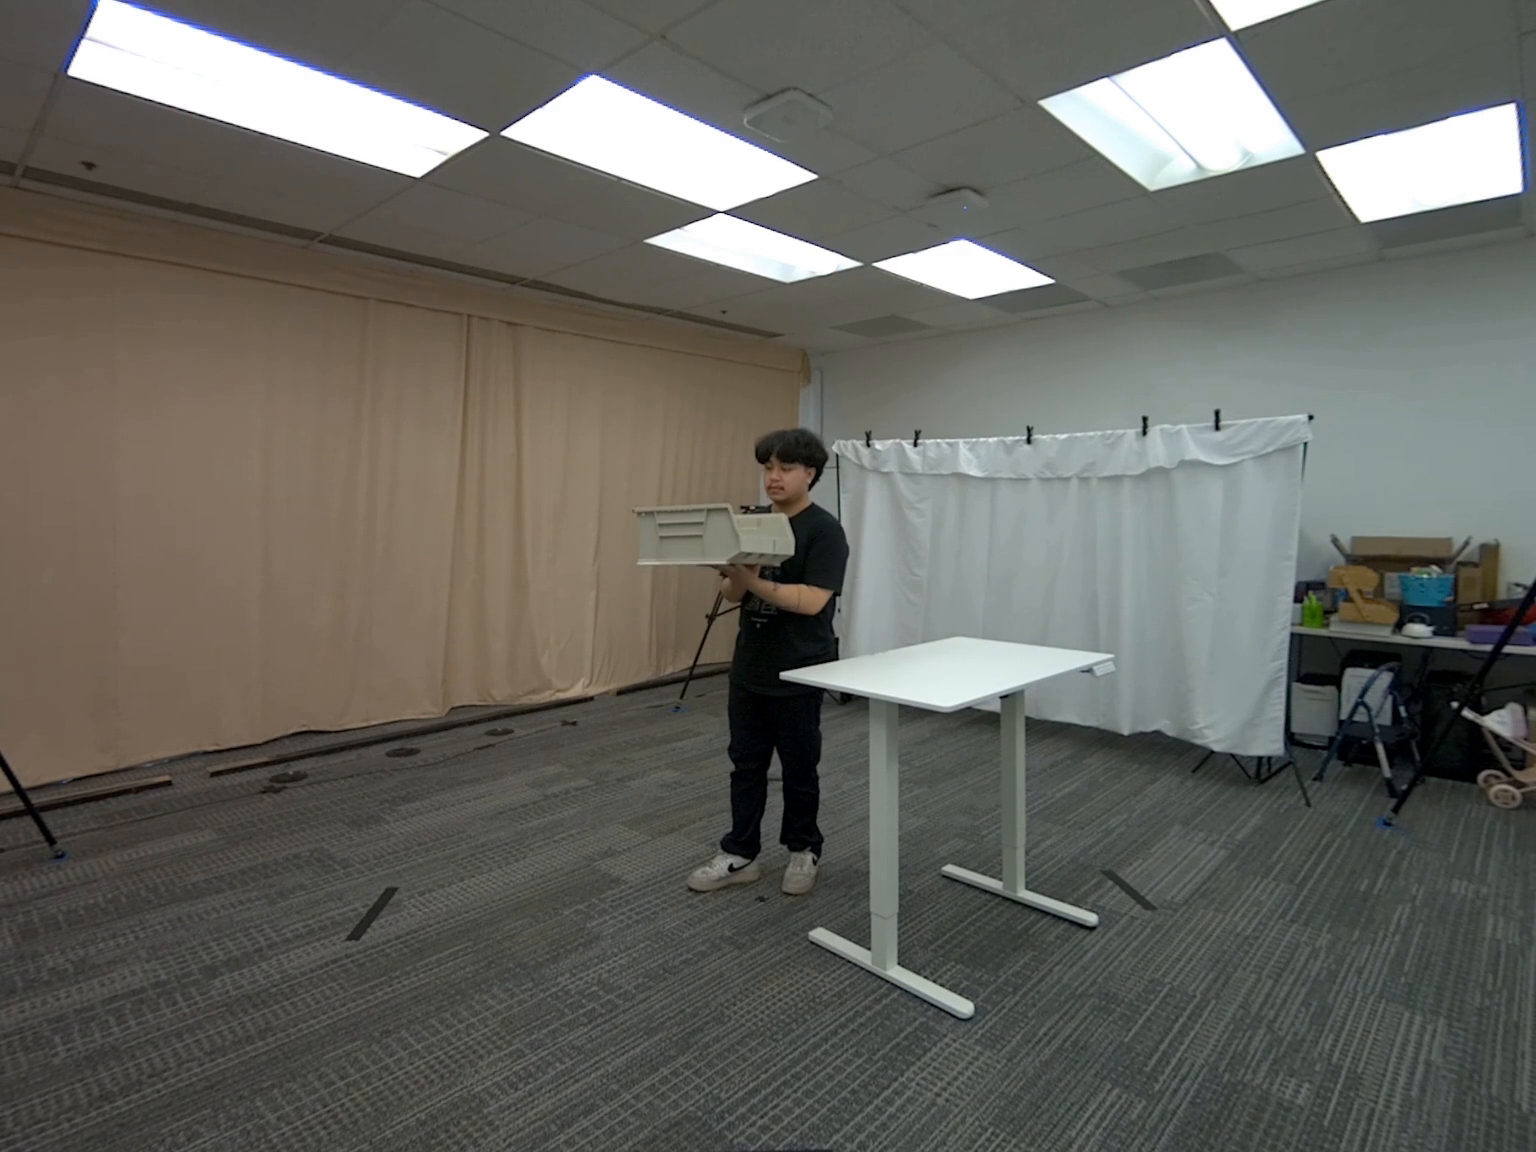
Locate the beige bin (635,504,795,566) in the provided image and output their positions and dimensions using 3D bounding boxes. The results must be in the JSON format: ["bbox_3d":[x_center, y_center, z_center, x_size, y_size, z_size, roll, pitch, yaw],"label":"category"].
[{"bbox_3d":[-0.169,-0.117,2.733,0.387,0.189,0.411,0,0,26],"label":"beige bin"}]
